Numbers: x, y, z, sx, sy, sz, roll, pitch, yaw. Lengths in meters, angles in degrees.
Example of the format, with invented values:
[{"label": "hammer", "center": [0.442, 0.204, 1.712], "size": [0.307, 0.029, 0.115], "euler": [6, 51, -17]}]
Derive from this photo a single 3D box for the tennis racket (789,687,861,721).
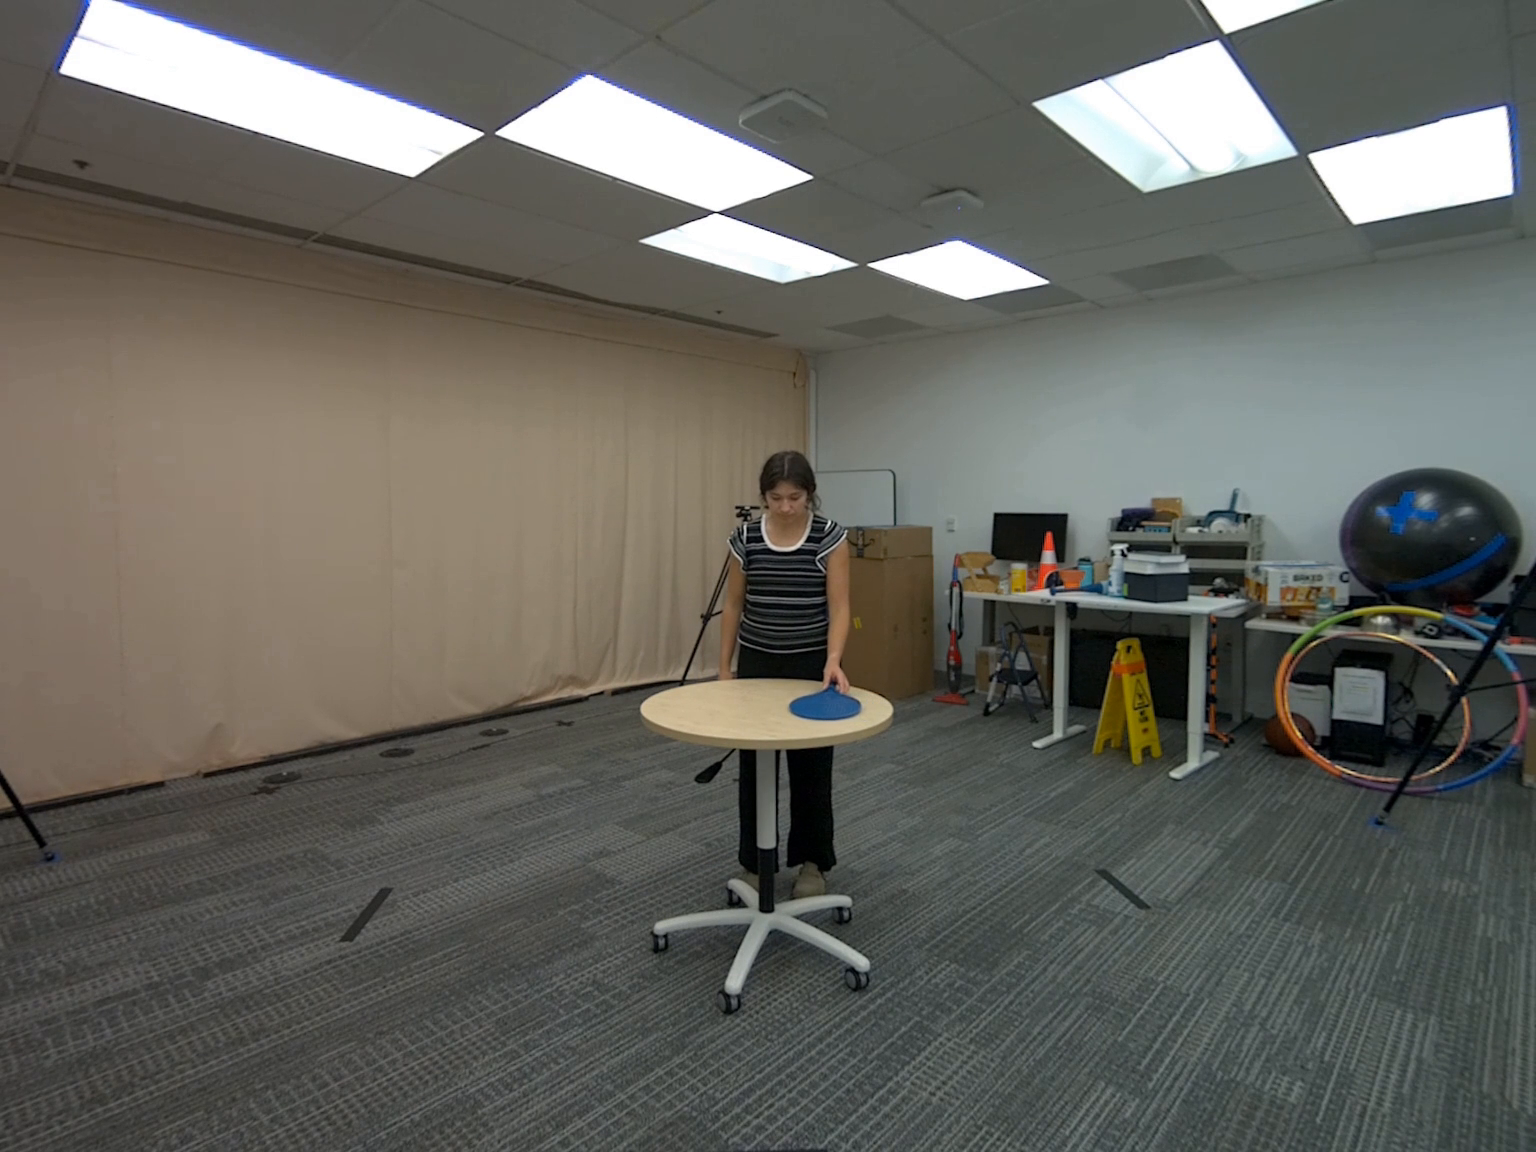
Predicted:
[{"label": "tennis racket", "center": [0.183, 0.379, 2.595], "size": [0.215, 0.031, 0.431], "euler": [-1, 6, 5]}]
